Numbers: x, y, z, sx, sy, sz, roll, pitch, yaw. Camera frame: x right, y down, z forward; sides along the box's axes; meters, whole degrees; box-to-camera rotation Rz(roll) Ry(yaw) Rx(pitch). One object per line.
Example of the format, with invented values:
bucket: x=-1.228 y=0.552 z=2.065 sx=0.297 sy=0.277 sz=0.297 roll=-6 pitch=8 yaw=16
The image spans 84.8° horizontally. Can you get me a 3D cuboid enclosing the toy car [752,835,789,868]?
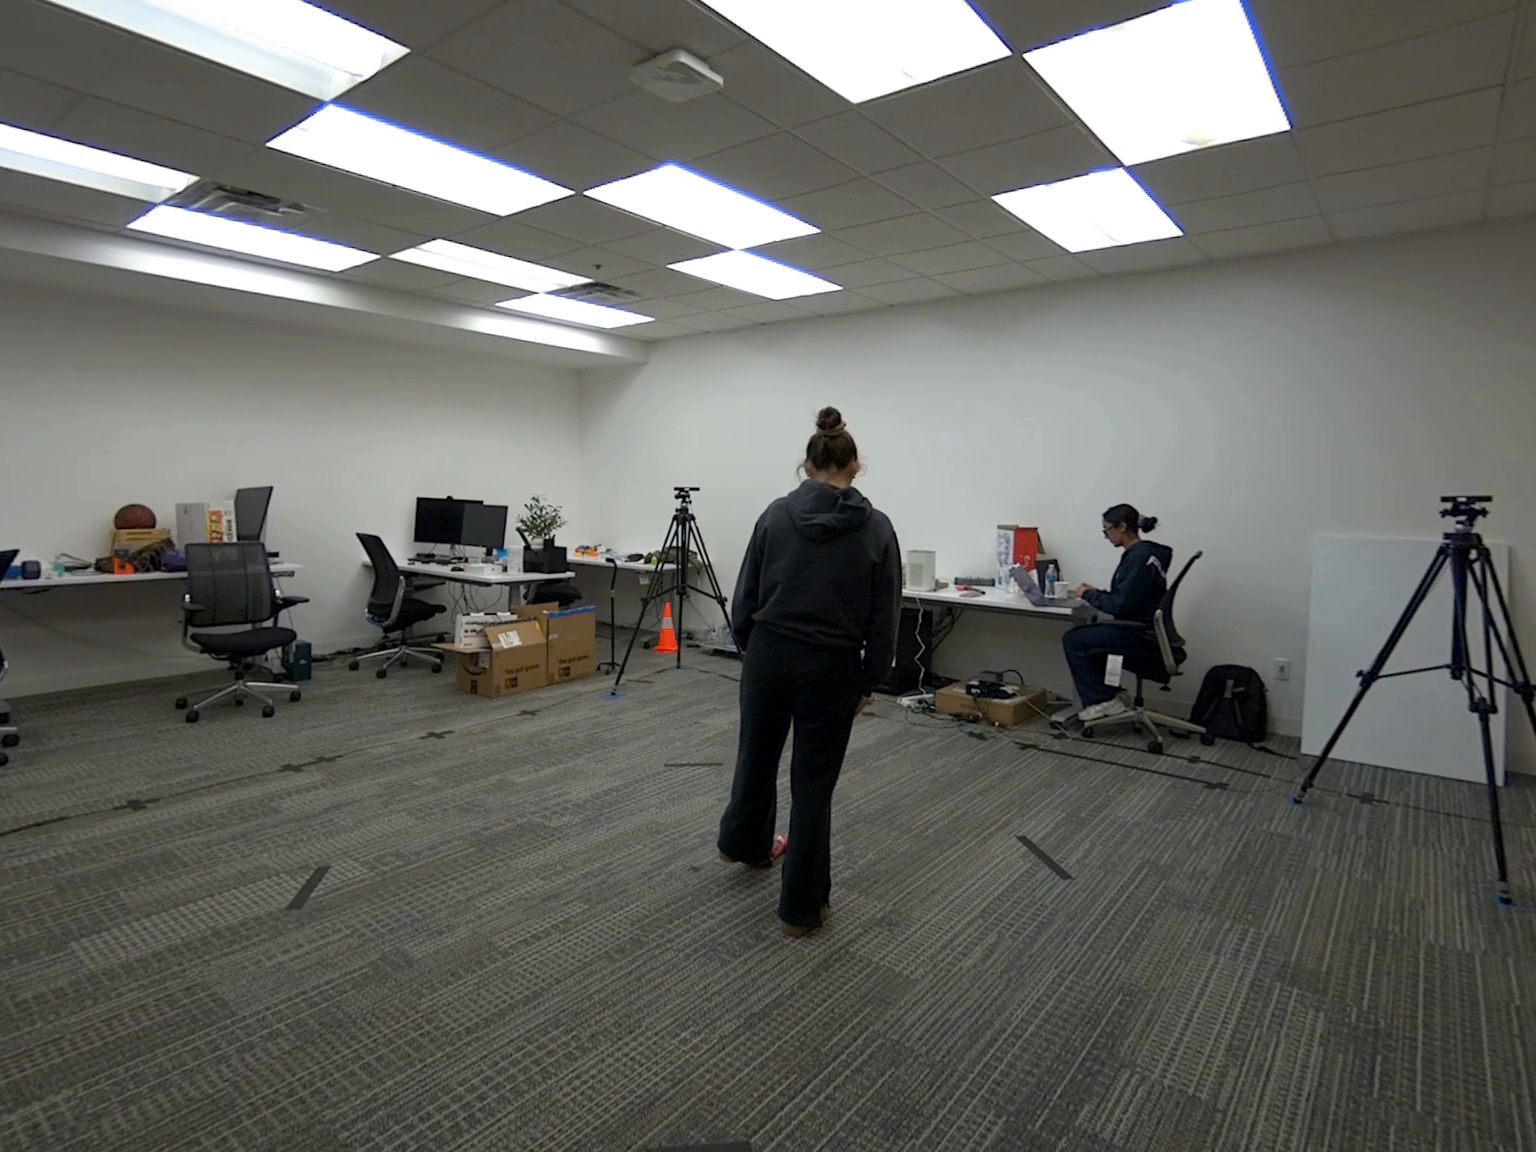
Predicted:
toy car: x=-0.004 y=1.029 z=3.206 sx=0.134 sy=0.083 sz=0.246 roll=4 pitch=-4 yaw=32
